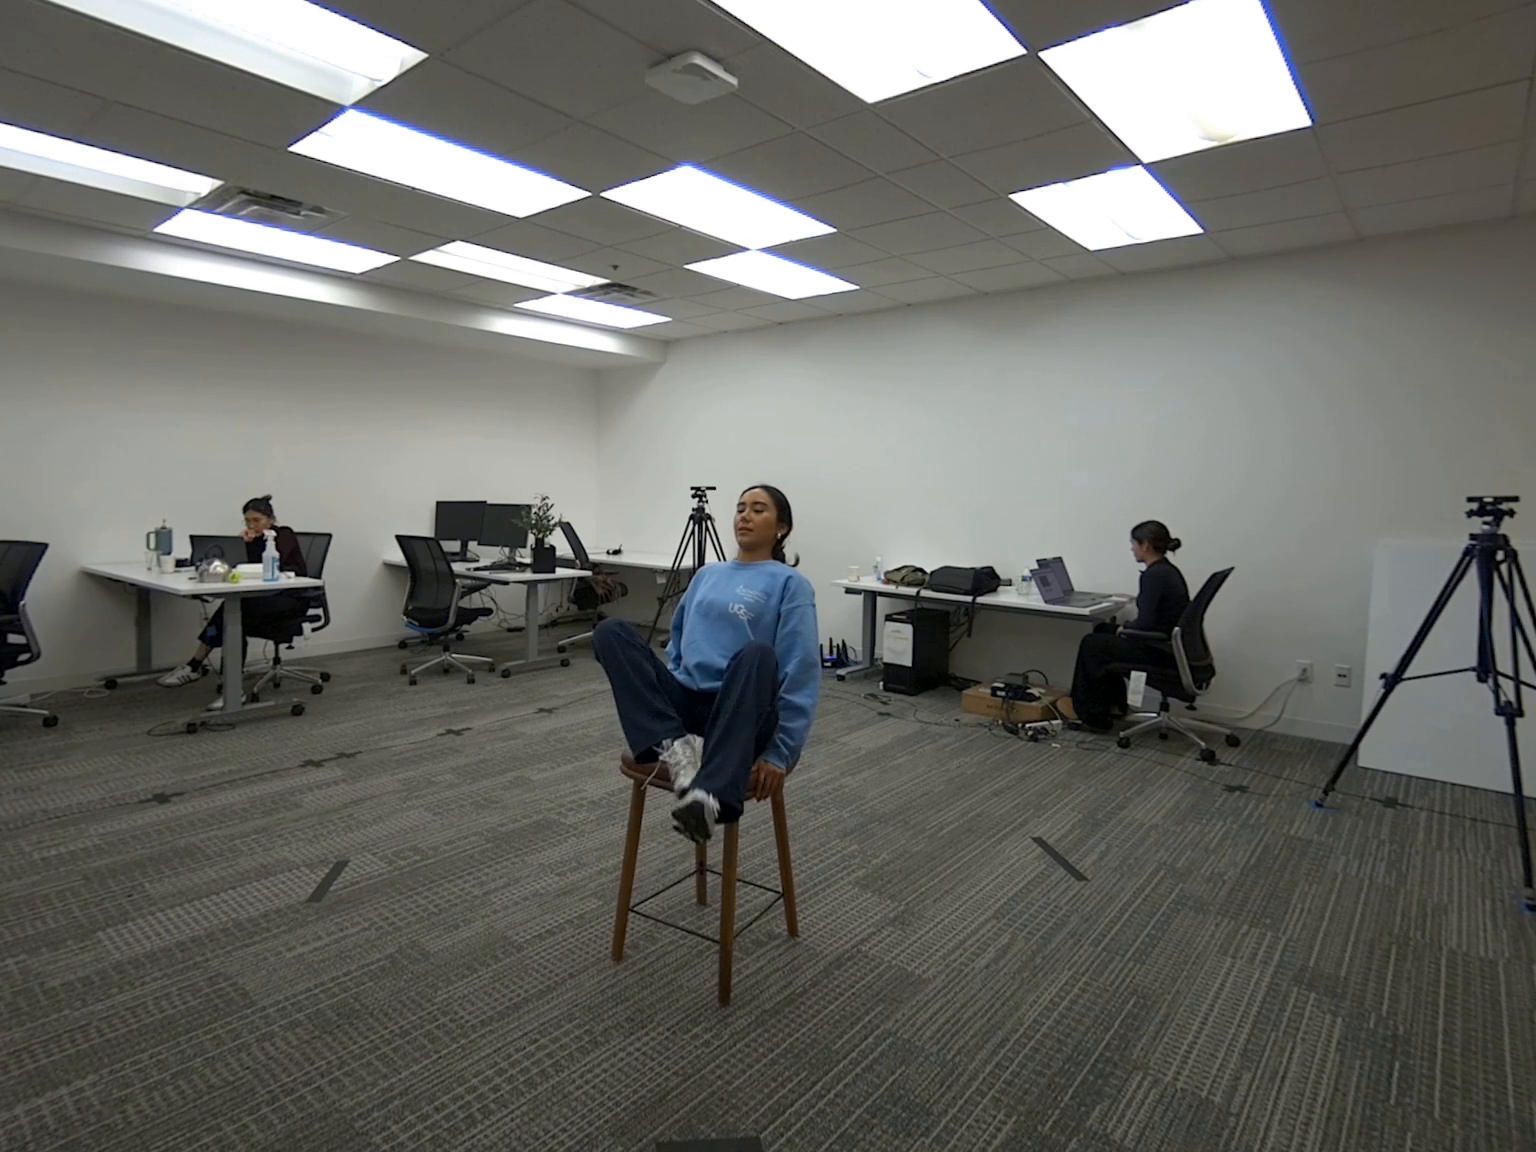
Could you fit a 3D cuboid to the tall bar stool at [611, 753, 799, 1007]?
[{"bbox_3d":[-0.169,0.682,2.558,0.470,0.889,0.454,3,2,32],"label":"tall bar stool"}]
